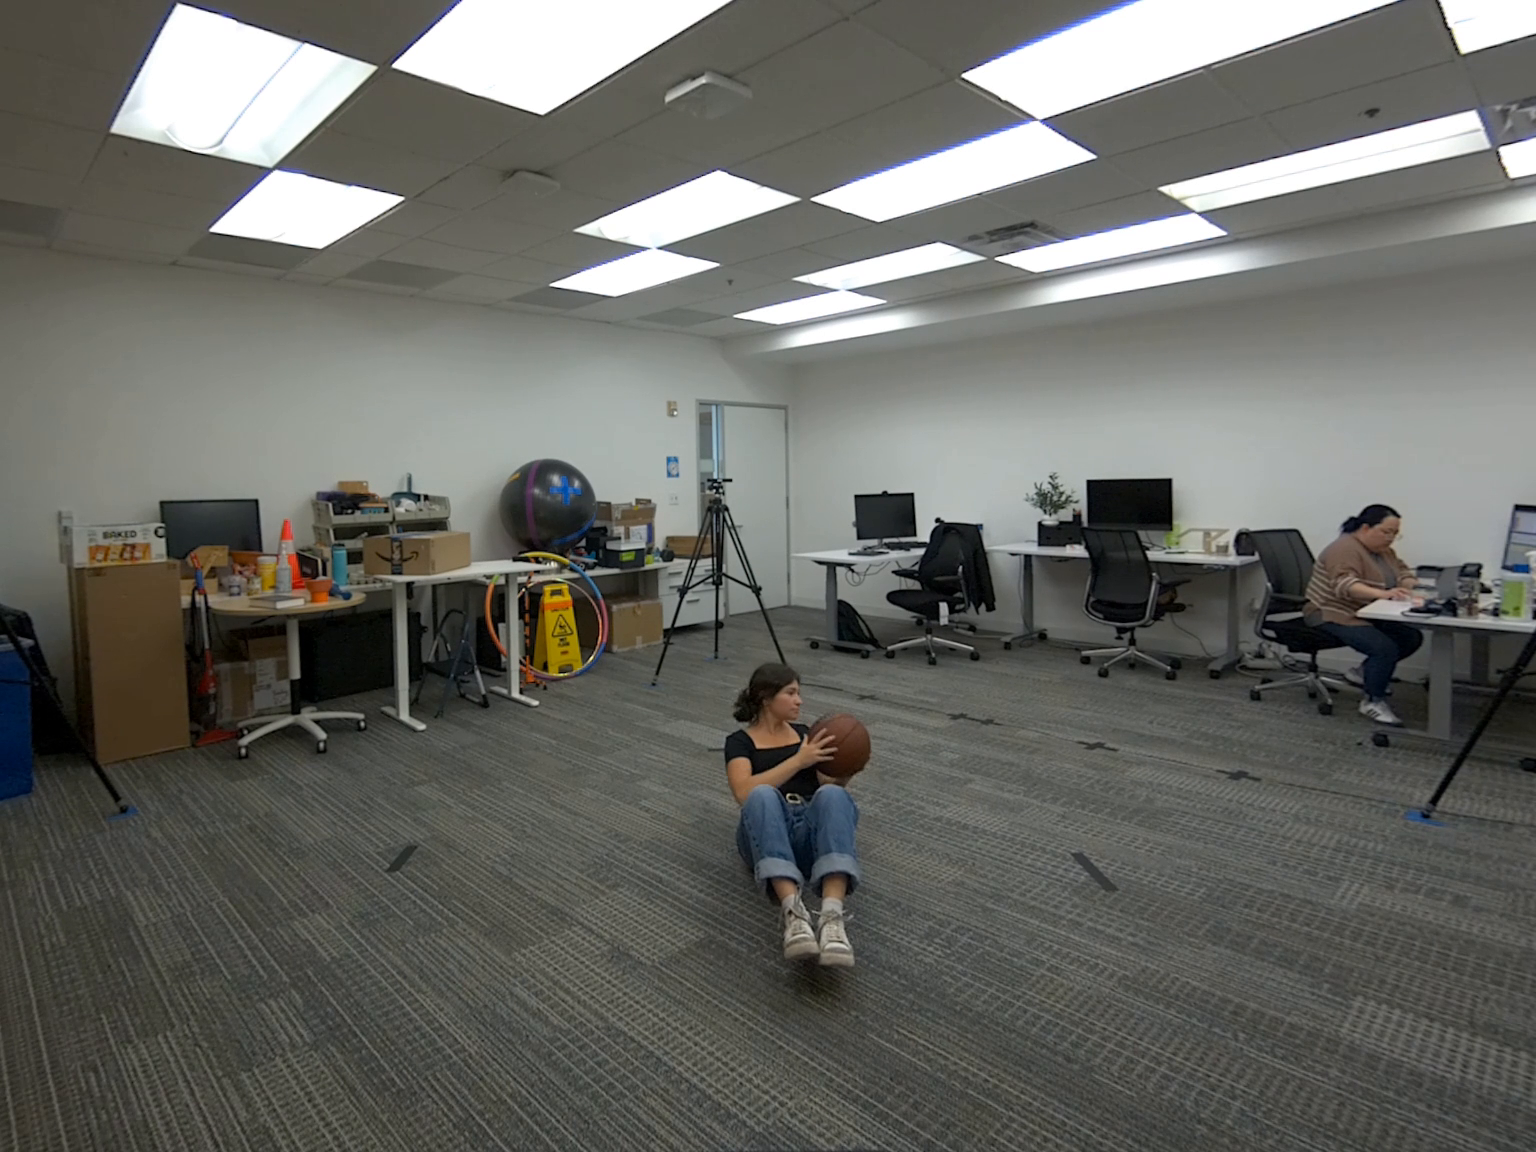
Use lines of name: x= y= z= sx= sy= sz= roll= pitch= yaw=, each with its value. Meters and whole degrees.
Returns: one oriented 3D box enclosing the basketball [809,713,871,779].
basketball: x=0.260 y=0.634 z=3.171 sx=0.236 sy=0.235 sz=0.237 roll=-1 pitch=5 yaw=-2
